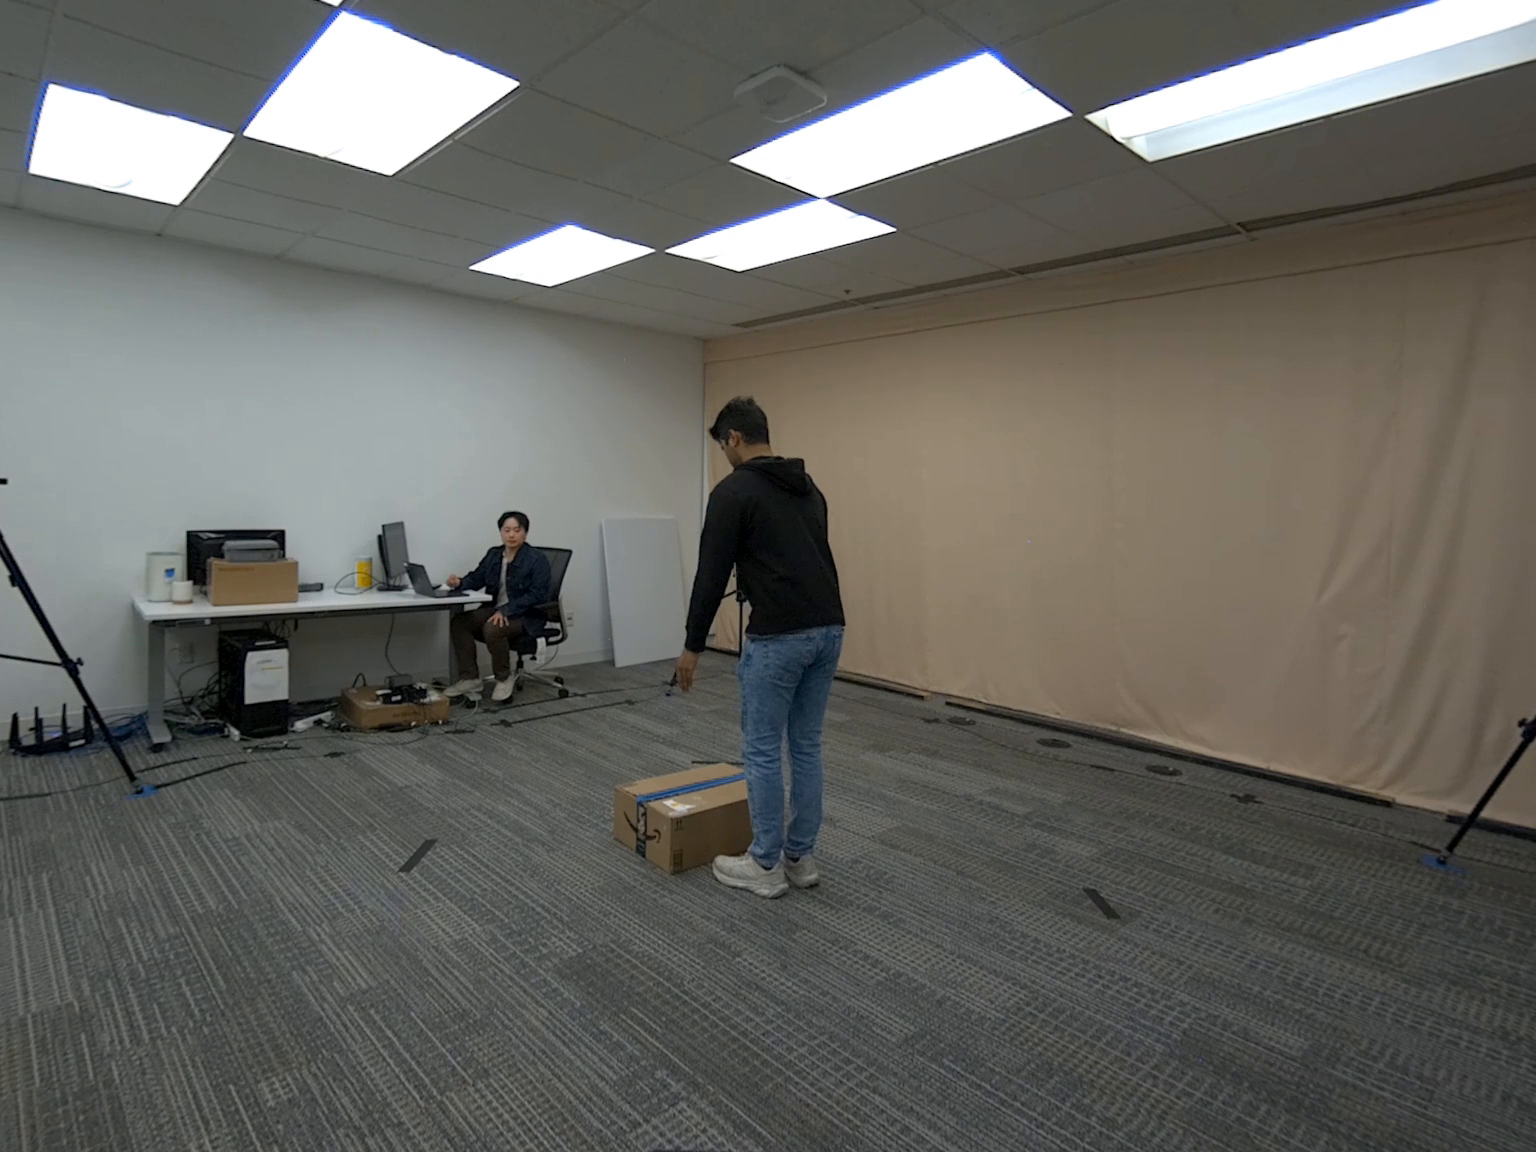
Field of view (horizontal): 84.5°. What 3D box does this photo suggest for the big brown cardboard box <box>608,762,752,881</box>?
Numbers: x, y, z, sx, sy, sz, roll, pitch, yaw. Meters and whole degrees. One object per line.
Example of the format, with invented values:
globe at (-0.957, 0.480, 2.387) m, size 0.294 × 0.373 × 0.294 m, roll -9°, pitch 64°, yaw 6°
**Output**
big brown cardboard box at (-0.283, 0.969, 3.427) m, size 0.575 × 0.232 × 0.428 m, roll -1°, pitch 5°, yaw -40°
